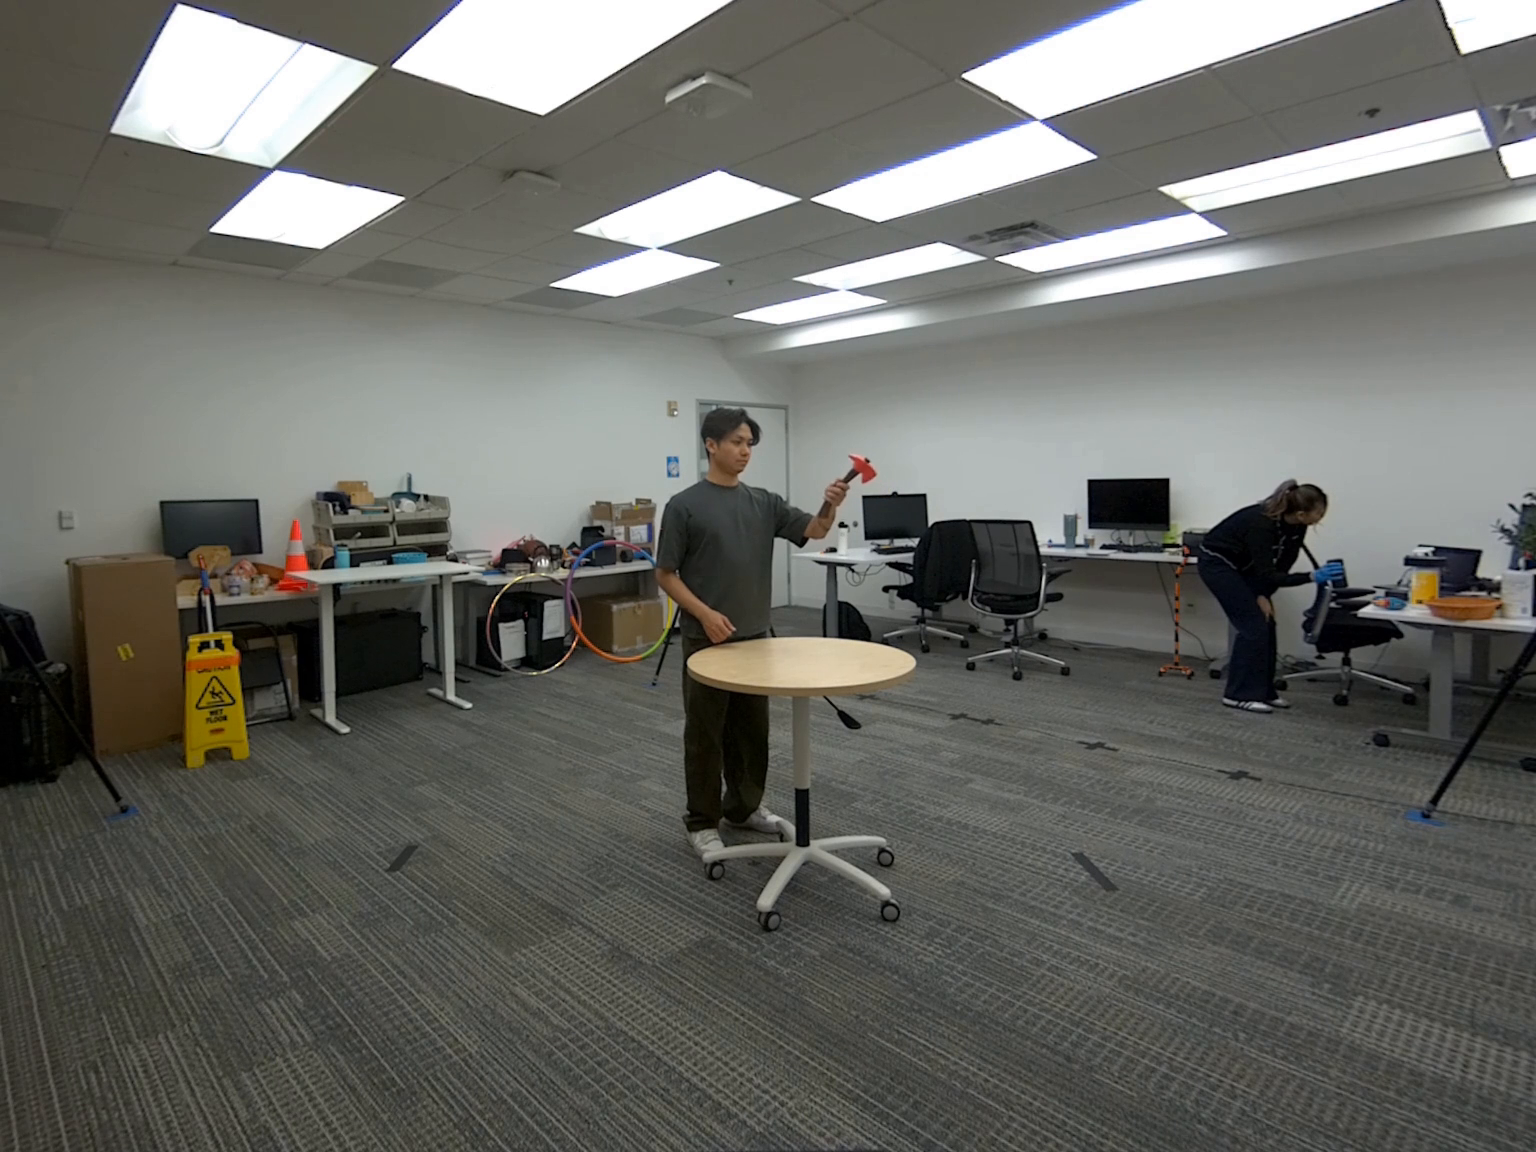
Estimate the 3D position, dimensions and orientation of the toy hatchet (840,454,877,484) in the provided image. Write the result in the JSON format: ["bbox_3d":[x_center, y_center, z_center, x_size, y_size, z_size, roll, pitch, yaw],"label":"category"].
[{"bbox_3d":[0.279,-0.301,2.978,0.128,0.268,0.030,19,34,-18],"label":"toy hatchet"}]
